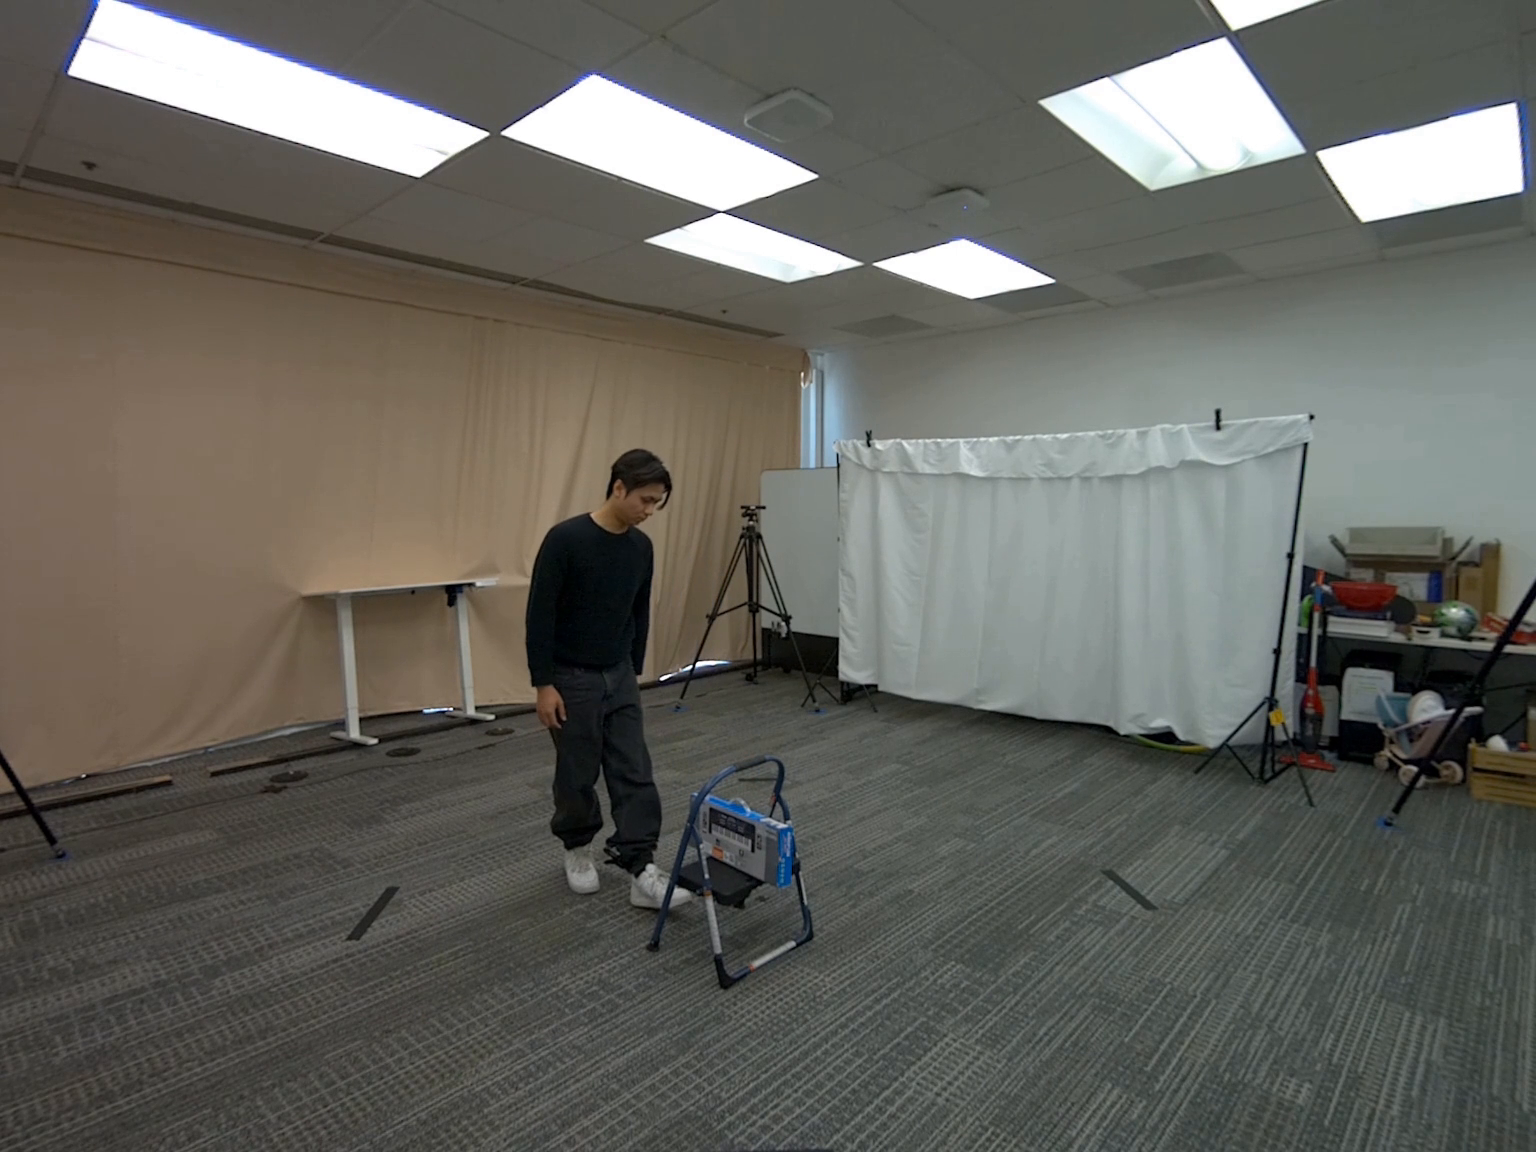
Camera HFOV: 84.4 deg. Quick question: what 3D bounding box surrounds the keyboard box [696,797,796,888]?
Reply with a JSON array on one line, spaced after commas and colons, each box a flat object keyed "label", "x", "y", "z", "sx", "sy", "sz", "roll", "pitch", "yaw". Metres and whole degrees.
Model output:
[{"label": "keyboard box", "x": -0.088, "y": 0.822, "z": 2.657, "sx": 0.057, "sy": 0.176, "sz": 0.451, "roll": 2, "pitch": 1, "yaw": -42}]
